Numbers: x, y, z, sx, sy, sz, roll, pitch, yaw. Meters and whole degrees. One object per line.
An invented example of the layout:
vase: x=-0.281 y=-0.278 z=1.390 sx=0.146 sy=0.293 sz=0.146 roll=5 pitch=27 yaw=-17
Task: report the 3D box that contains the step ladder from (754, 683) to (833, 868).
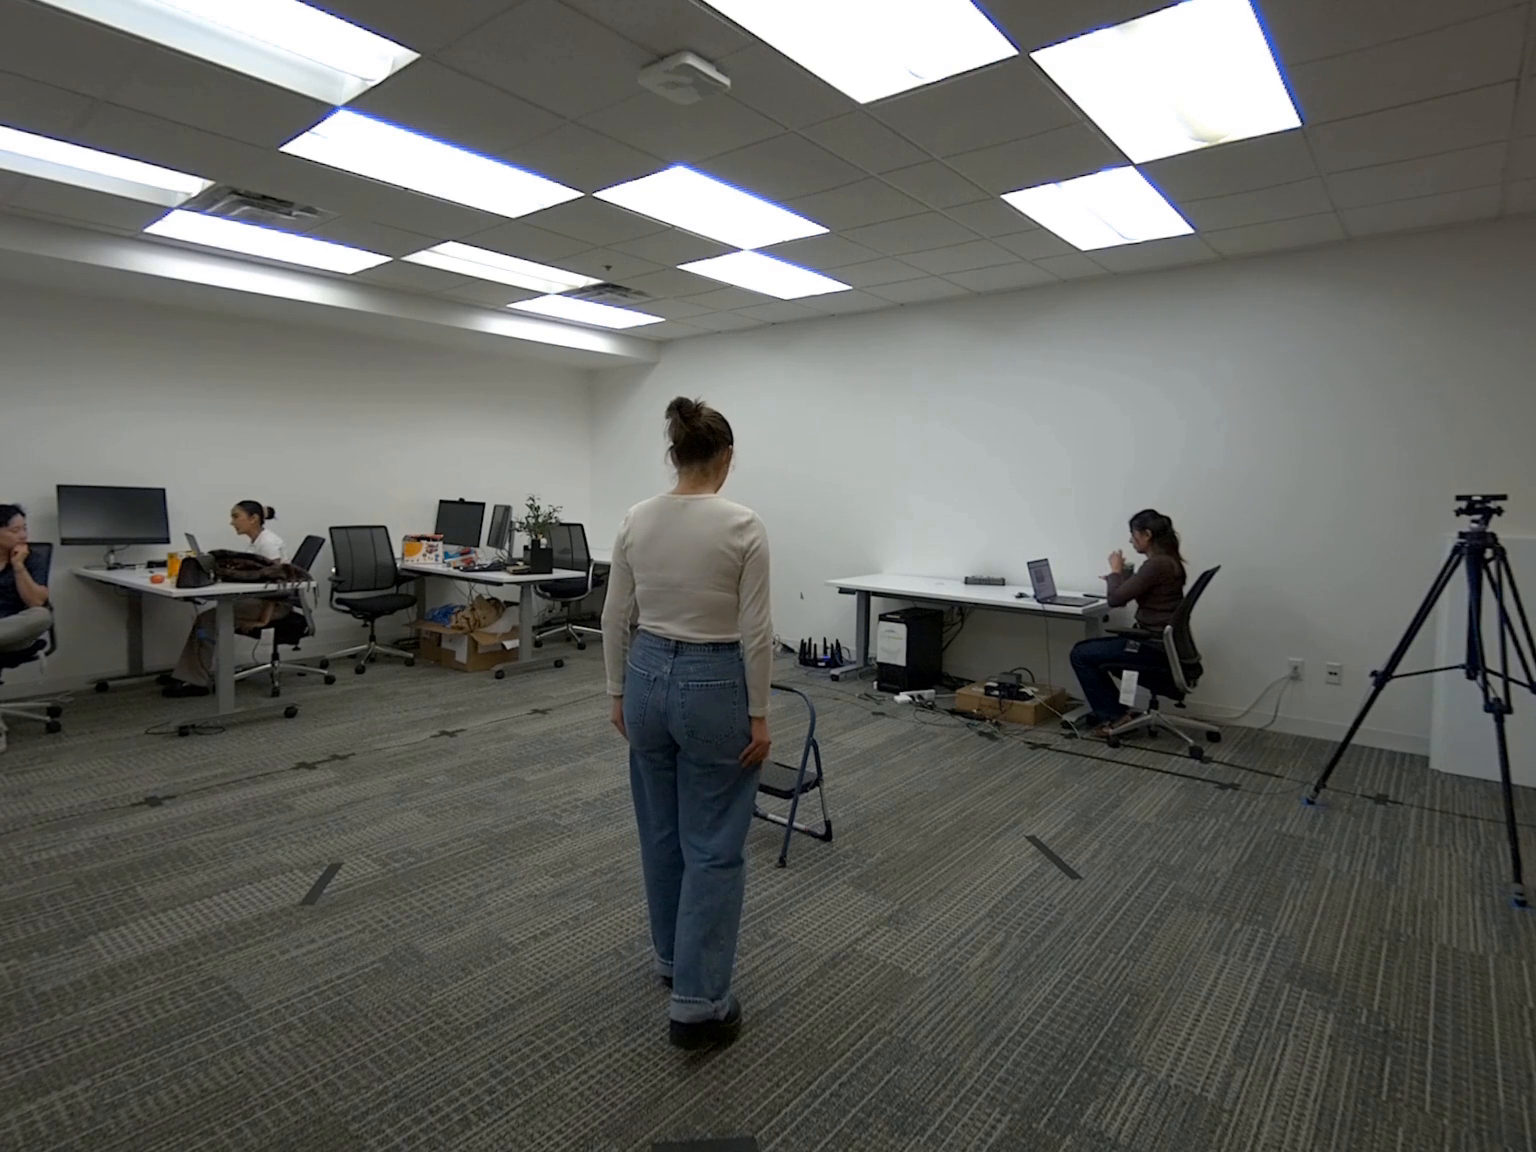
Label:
step ladder: x=-0.004 y=0.739 z=3.371 sx=0.445 sy=0.604 sz=0.339 roll=5 pitch=5 yaw=40
